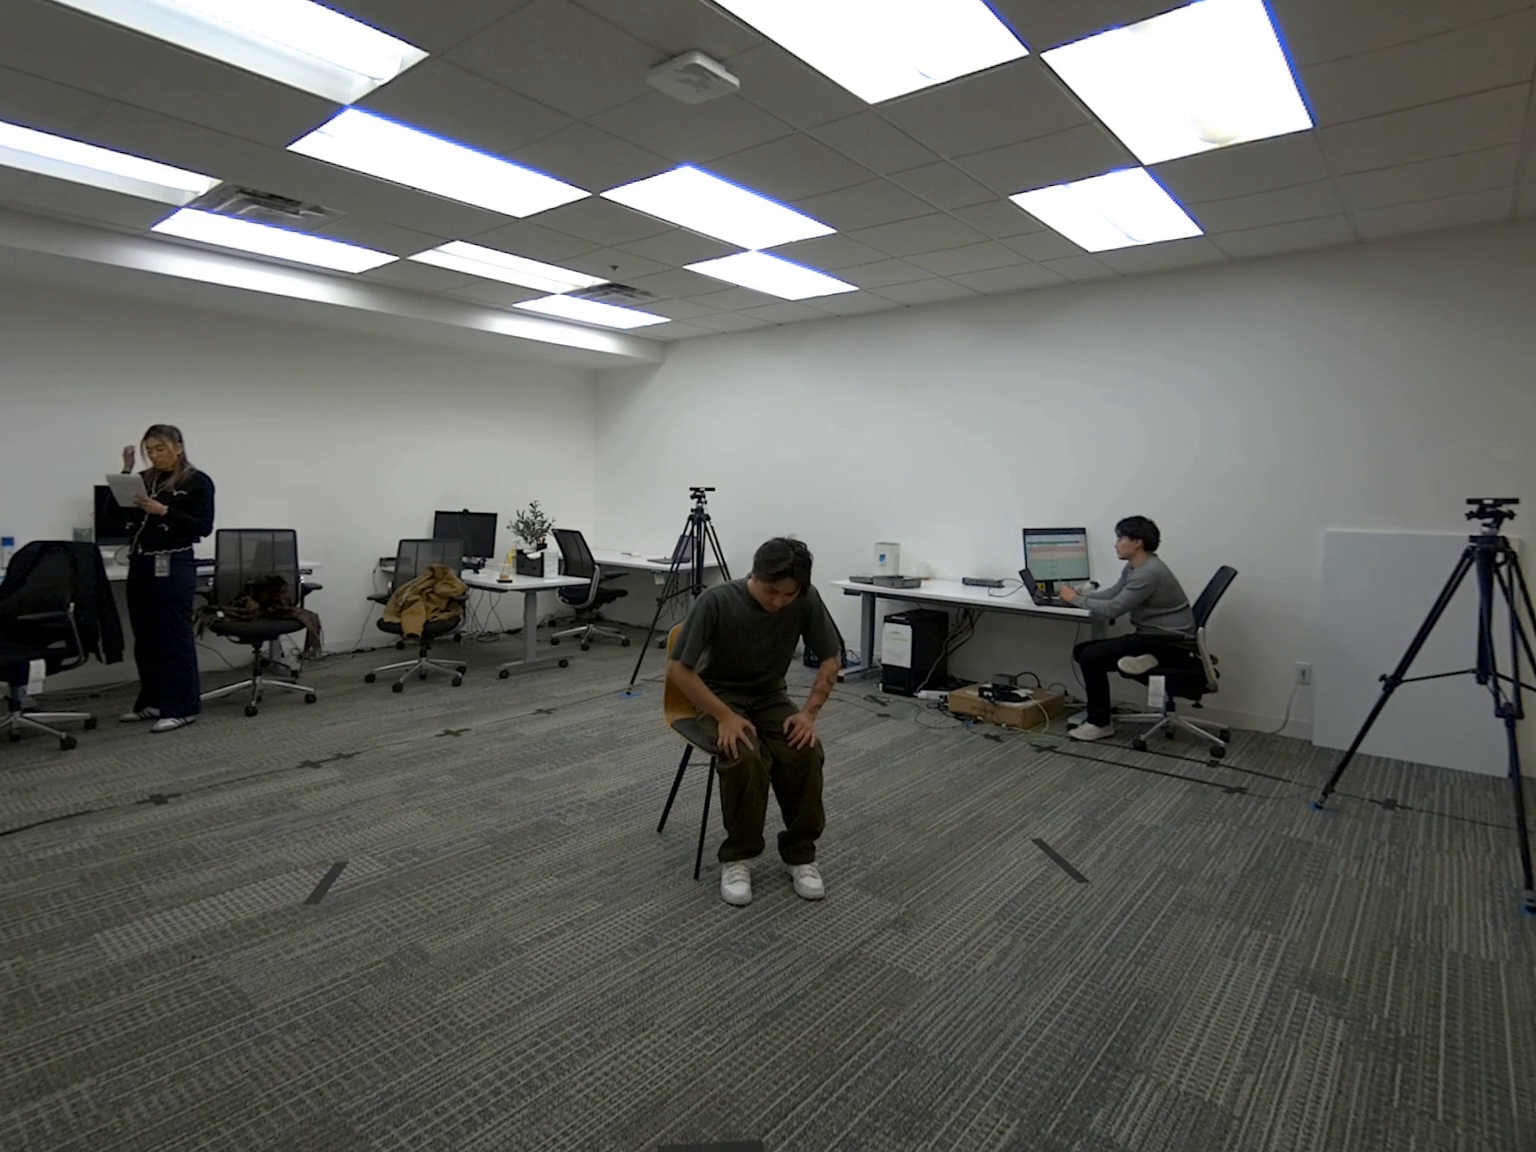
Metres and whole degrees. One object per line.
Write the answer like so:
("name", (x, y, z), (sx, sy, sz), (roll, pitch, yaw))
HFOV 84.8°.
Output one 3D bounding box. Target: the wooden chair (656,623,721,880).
("wooden chair", (-0.145, 0.621, 3.274), (0.467, 0.878, 0.535), (0, 0, -23))
